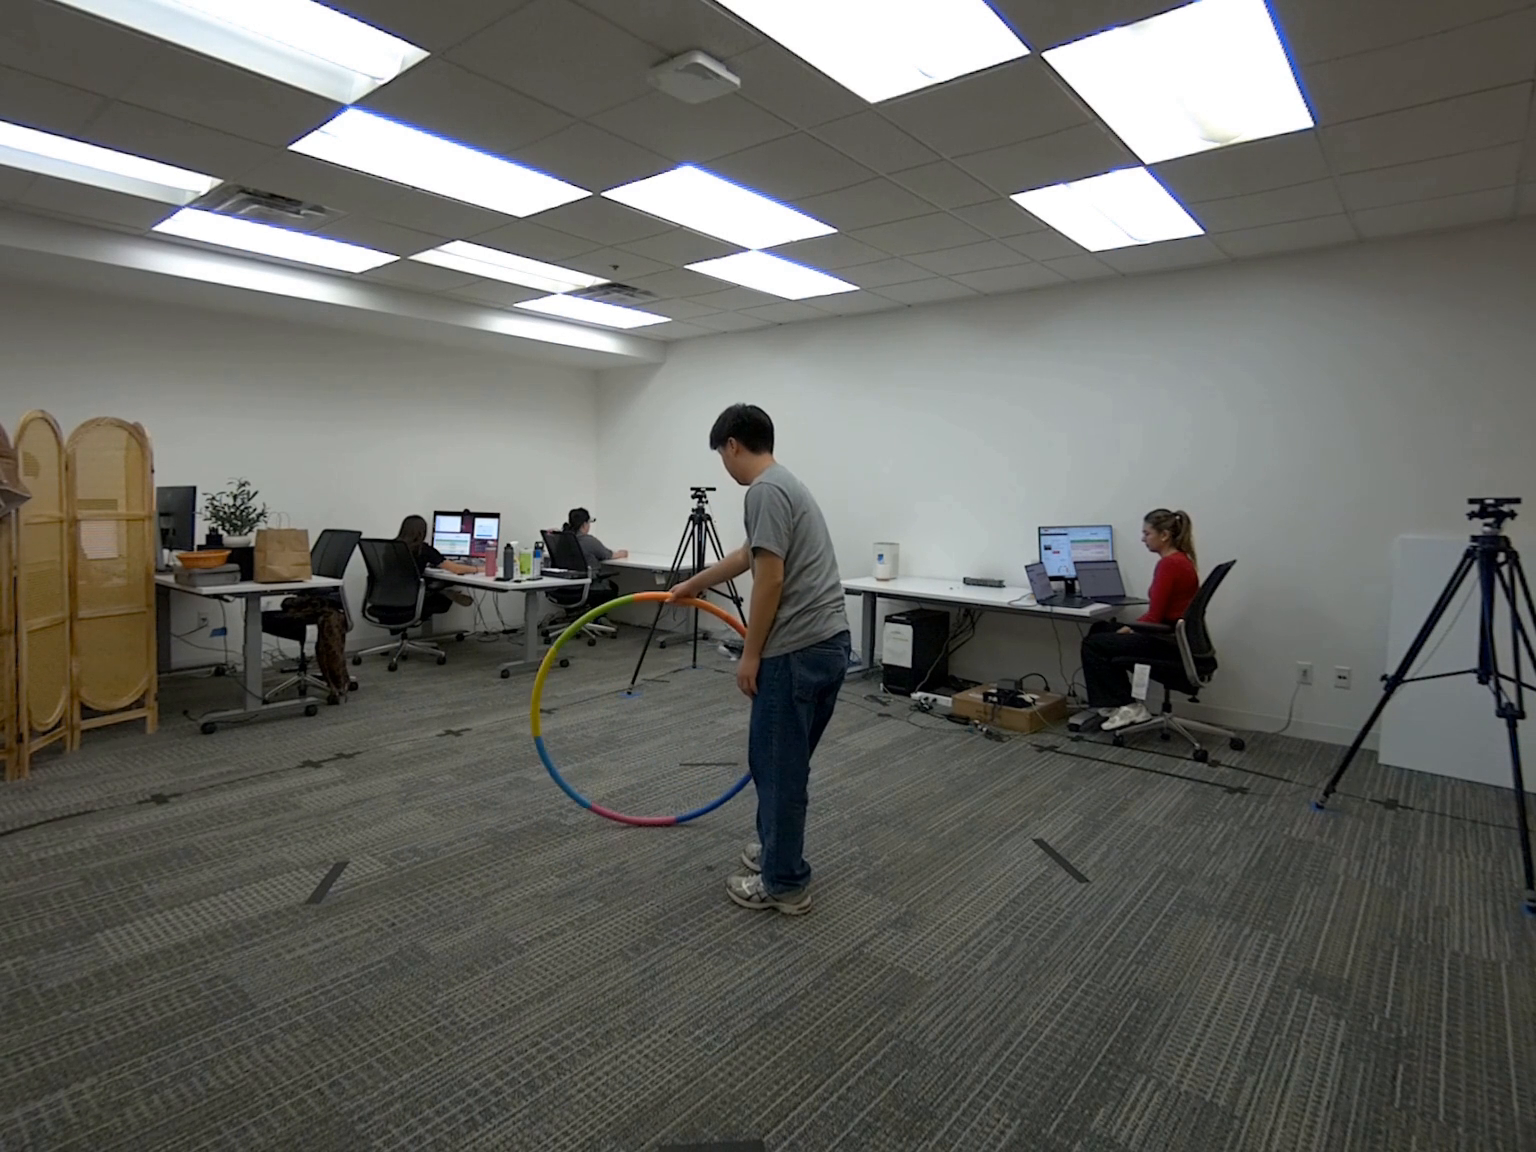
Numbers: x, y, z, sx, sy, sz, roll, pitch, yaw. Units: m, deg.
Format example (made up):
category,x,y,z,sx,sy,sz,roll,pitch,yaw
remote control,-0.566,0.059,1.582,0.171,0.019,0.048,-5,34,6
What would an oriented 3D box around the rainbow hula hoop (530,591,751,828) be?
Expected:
category,x,y,z,sx,sy,sz,roll,pitch,yaw
rainbow hula hoop,-0.458,0.542,3.416,0.973,0.969,0.036,1,10,-5
